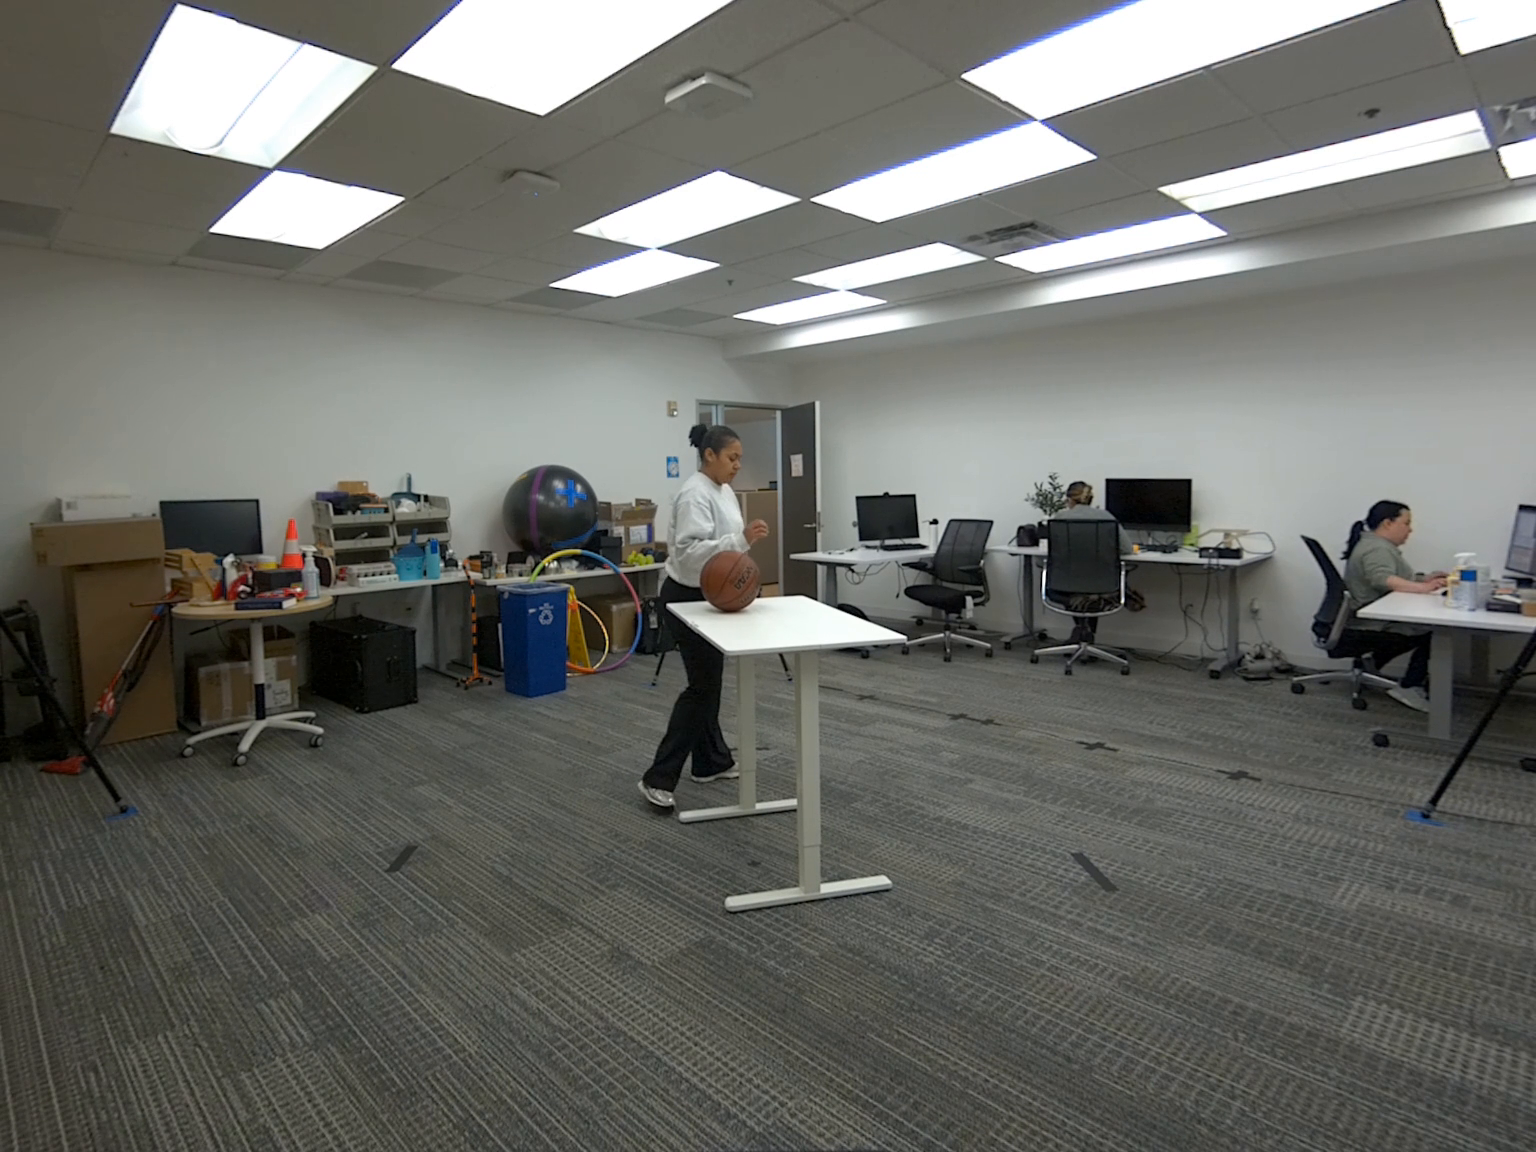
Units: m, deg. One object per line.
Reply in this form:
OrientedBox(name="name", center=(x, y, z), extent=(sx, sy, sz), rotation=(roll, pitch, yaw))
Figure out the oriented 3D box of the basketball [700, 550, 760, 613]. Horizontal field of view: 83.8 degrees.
OrientedBox(name="basketball", center=(-0.147, 0.019, 3.334), extent=(0.236, 0.235, 0.237), rotation=(-1, 5, -2))
